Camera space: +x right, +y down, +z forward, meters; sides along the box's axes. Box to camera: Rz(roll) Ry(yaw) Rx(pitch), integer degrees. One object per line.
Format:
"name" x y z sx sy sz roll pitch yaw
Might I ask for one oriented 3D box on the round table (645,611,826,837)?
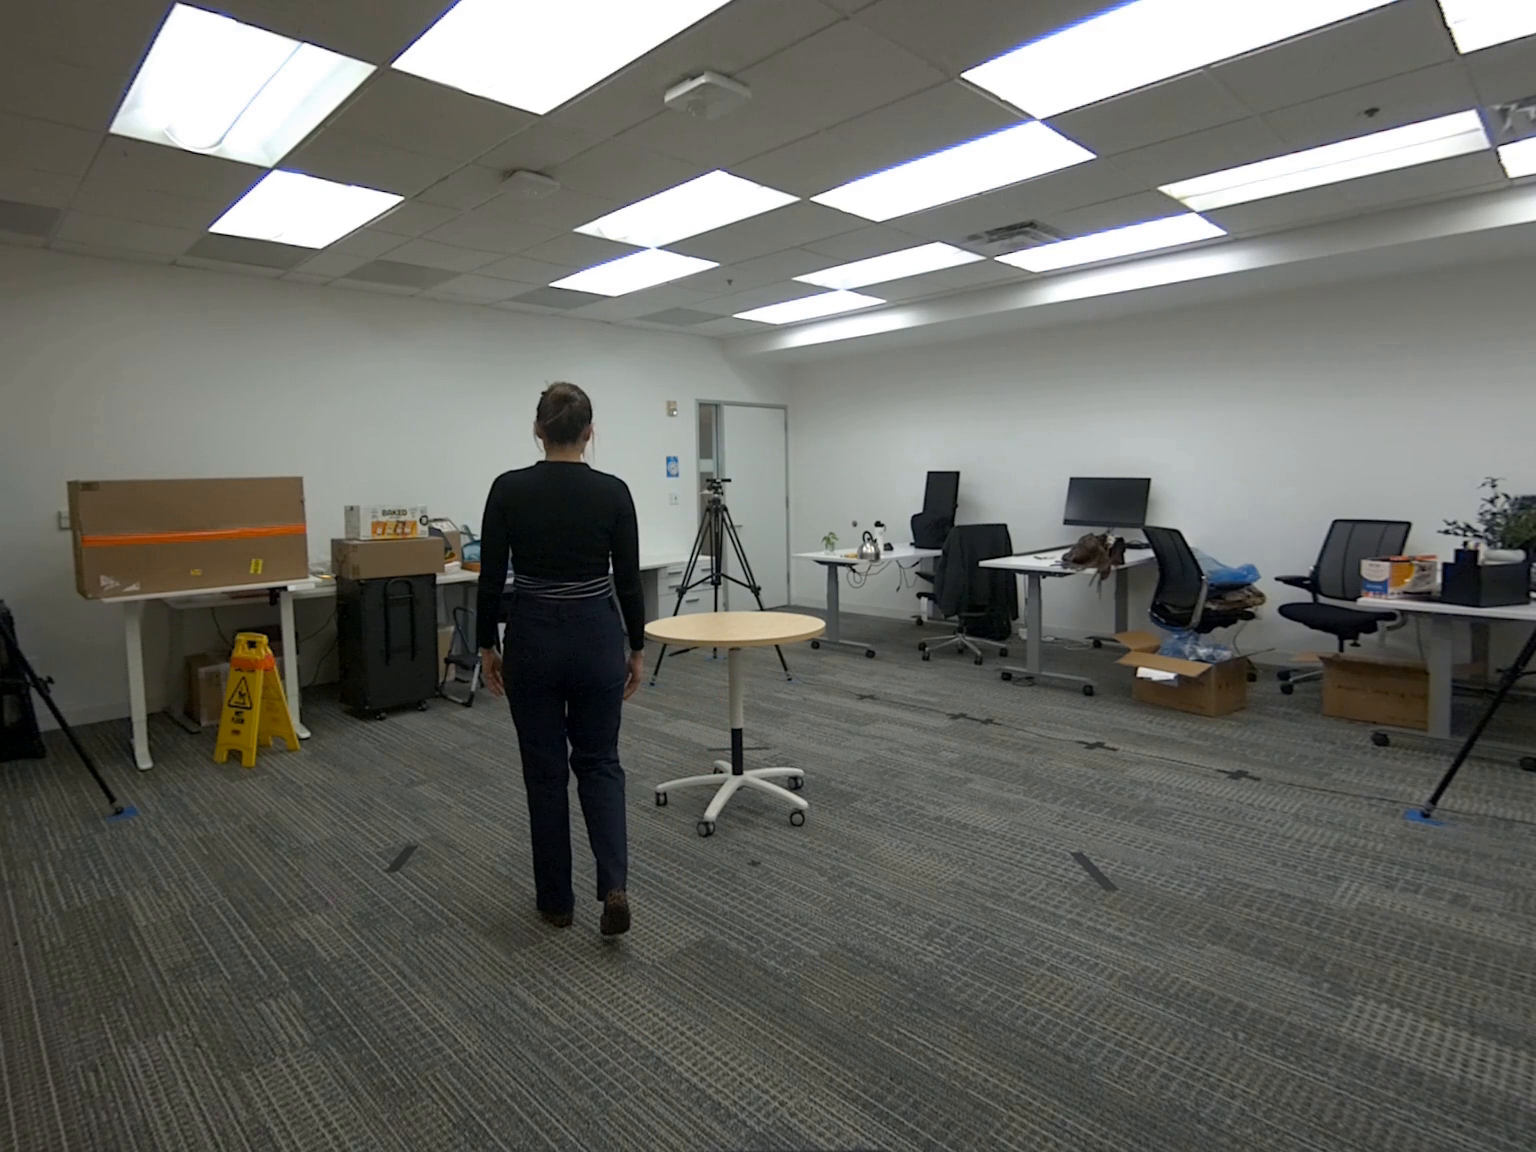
"round table" -0.131 0.598 3.633 0.763 0.791 0.767 -1 4 -2
